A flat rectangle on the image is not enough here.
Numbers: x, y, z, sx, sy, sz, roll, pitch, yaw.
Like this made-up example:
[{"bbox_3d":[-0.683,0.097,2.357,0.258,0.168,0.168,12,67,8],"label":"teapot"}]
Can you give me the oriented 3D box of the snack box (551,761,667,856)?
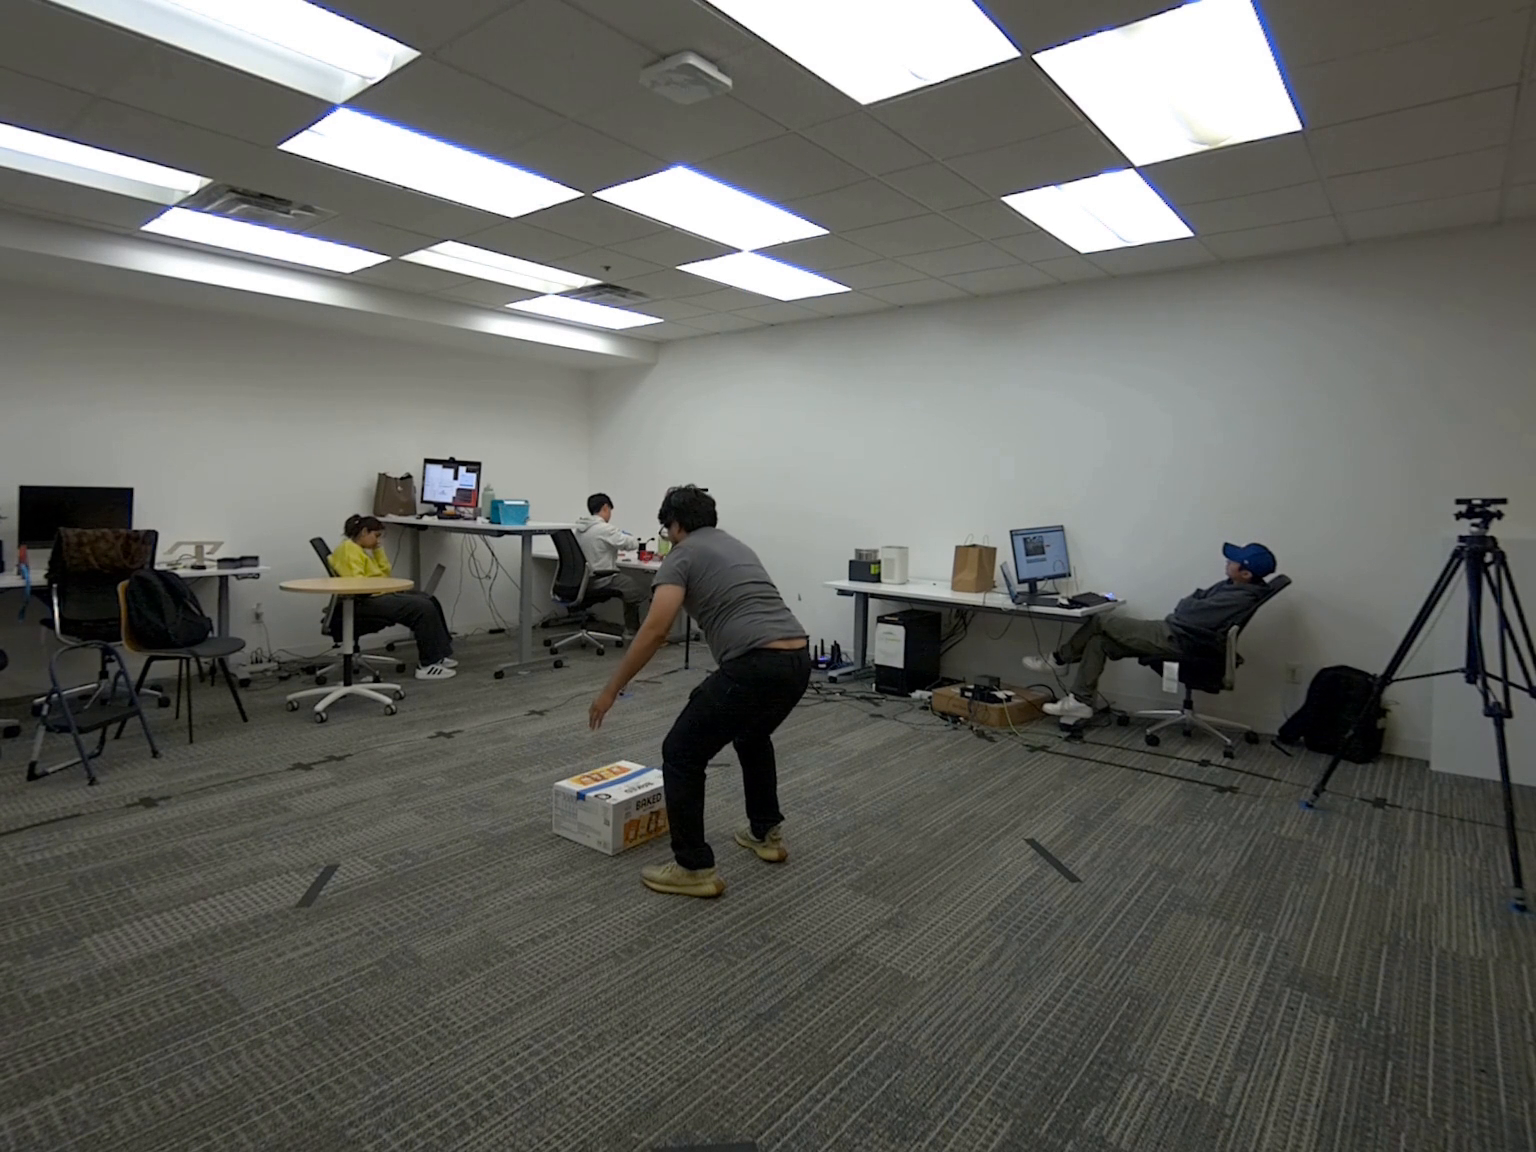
[{"bbox_3d":[-0.622,0.929,3.455,0.351,0.205,0.393,4,6,36],"label":"snack box"}]
